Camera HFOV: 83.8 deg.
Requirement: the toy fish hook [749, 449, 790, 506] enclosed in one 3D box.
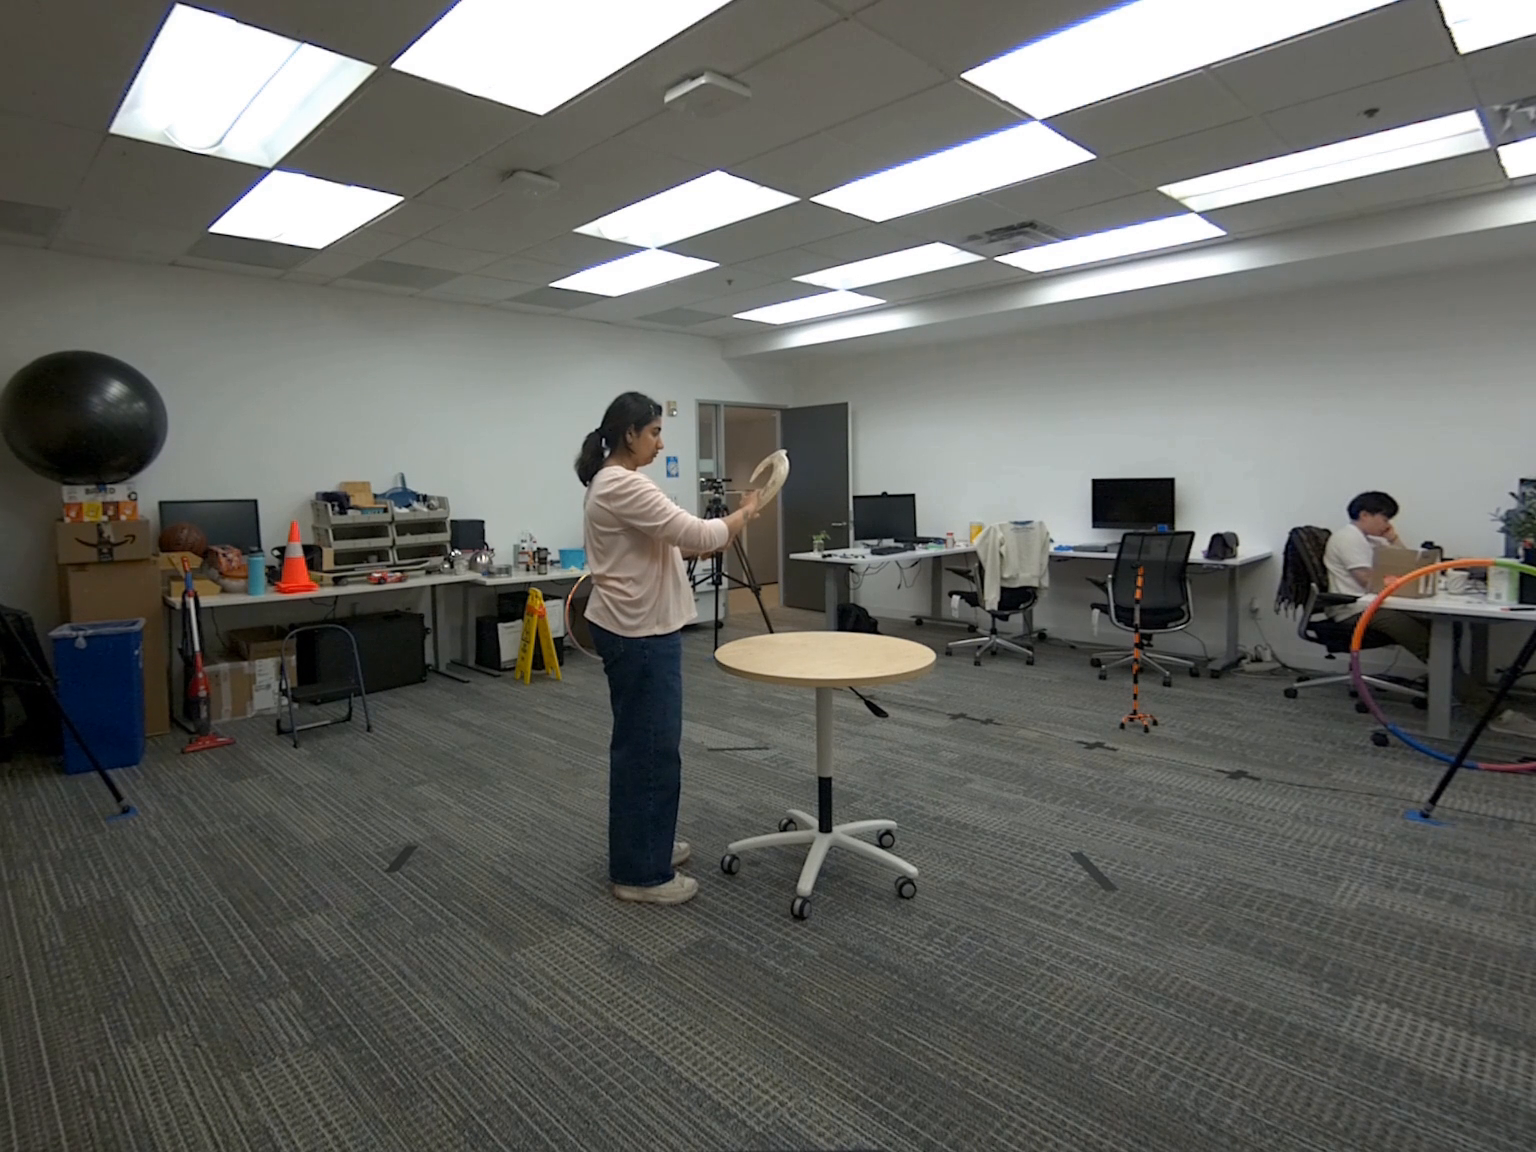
[{"bbox_3d":[-0.094,-0.247,3.043,0.047,0.507,0.230,35,29,-23],"label":"toy fish hook"}]
